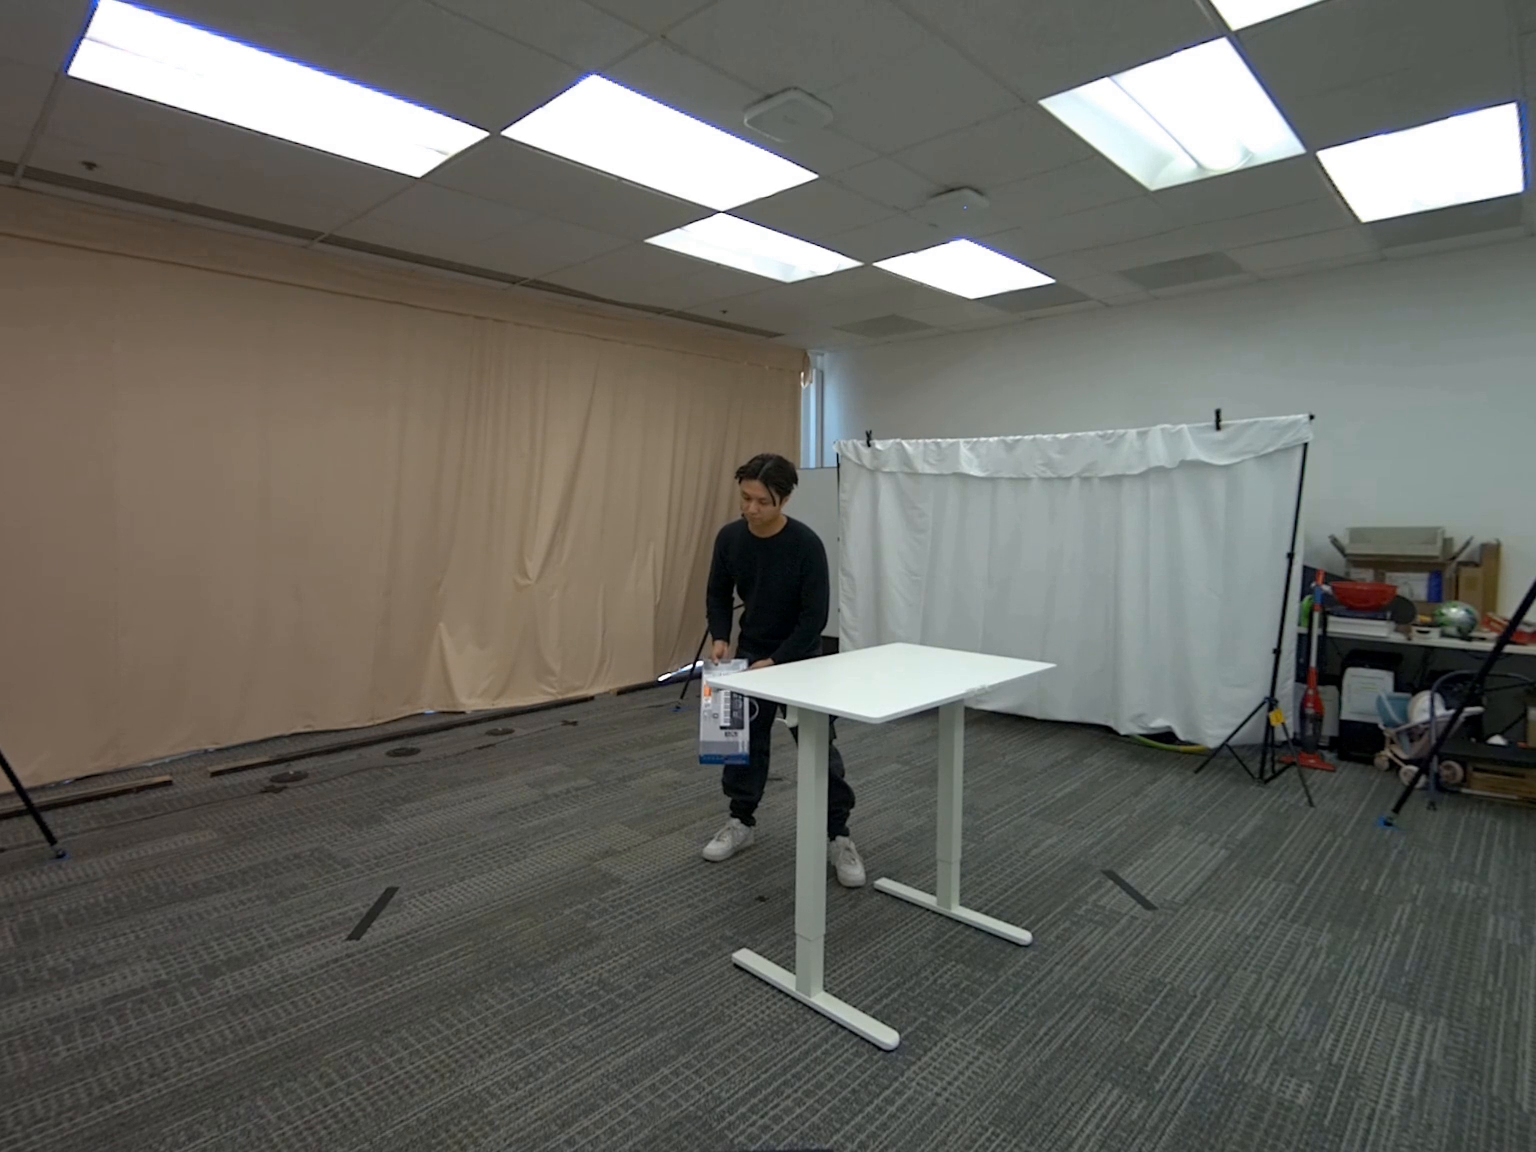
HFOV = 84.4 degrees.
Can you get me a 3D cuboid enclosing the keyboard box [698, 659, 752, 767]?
[{"bbox_3d":[-0.147,0.476,3.036,0.176,0.058,0.445,-2,41,0],"label":"keyboard box"}]
